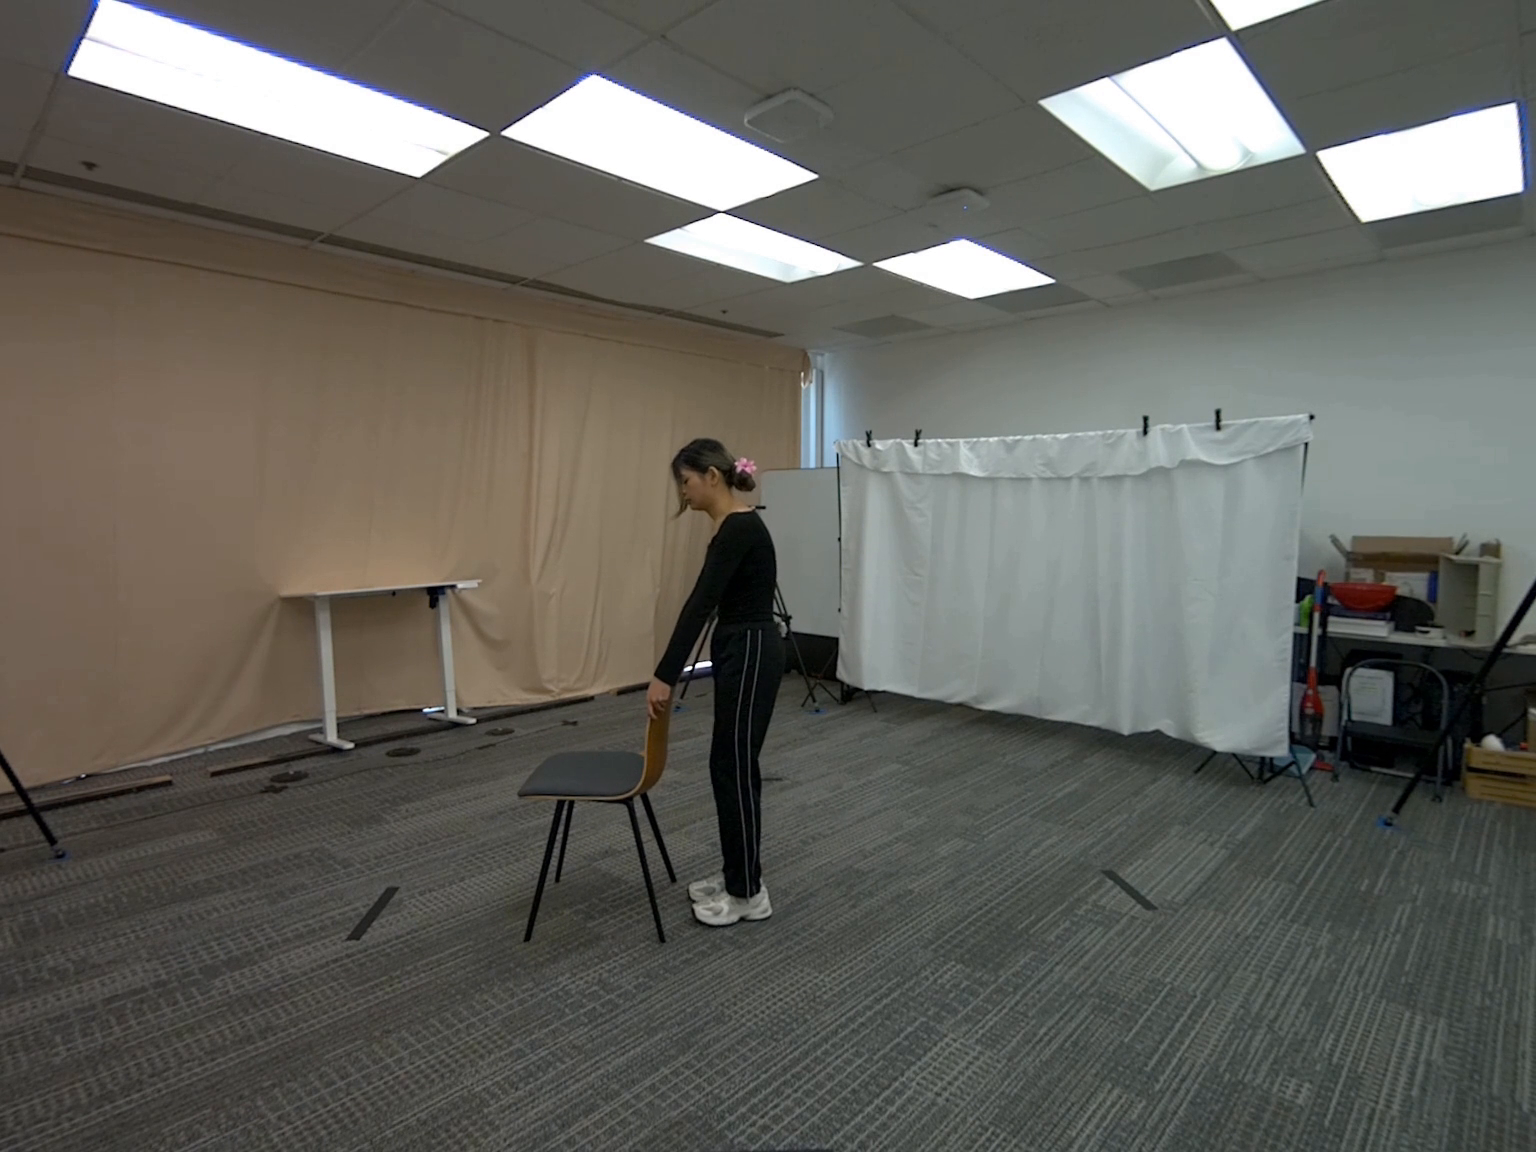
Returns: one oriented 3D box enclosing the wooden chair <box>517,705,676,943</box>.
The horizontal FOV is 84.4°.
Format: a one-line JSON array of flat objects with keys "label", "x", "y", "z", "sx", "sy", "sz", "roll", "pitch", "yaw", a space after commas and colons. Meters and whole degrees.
[{"label": "wooden chair", "x": -0.573, "y": 0.733, "z": 2.883, "sx": 0.524, "sy": 0.875, "sz": 0.479, "roll": 4, "pitch": 4, "yaw": 0}]
